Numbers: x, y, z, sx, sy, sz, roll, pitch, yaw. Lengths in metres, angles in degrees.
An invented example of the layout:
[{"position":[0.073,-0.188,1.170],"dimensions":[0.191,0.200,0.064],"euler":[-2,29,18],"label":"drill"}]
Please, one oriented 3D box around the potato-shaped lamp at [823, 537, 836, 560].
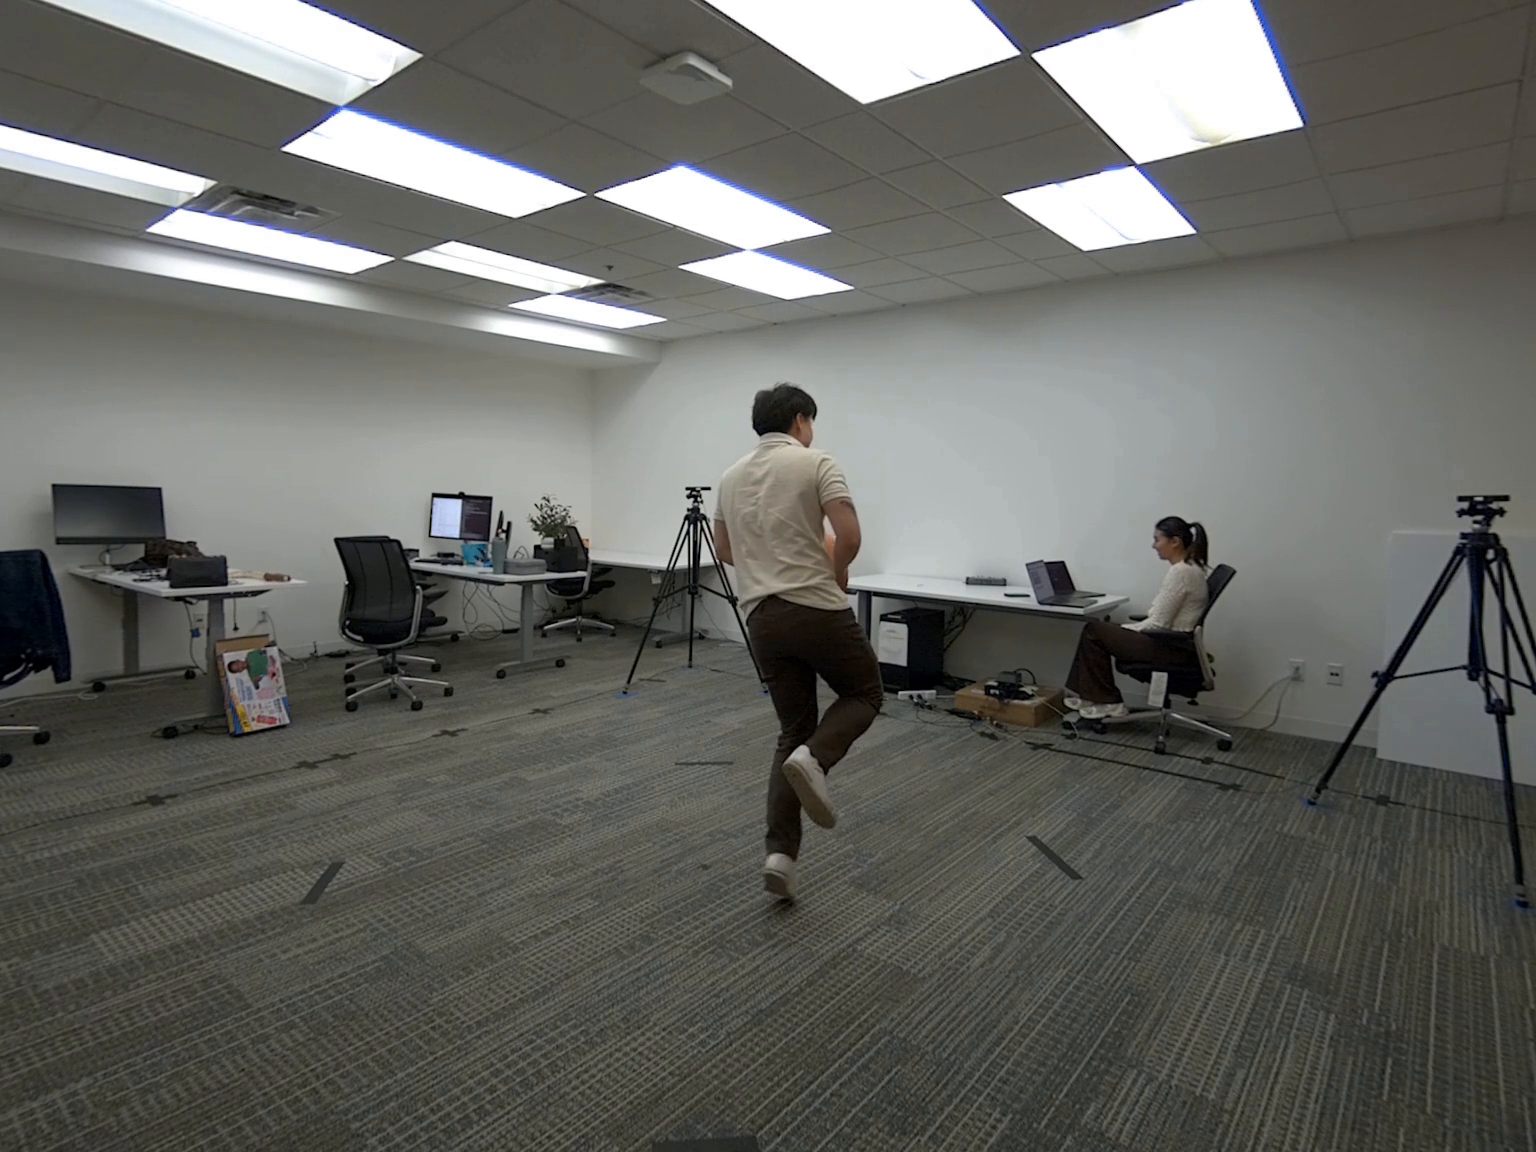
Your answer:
[{"position":[0.179,-0.010,3.029],"dimensions":[0.170,0.198,0.166],"euler":[-1,0,42],"label":"potato-shaped lamp"}]
